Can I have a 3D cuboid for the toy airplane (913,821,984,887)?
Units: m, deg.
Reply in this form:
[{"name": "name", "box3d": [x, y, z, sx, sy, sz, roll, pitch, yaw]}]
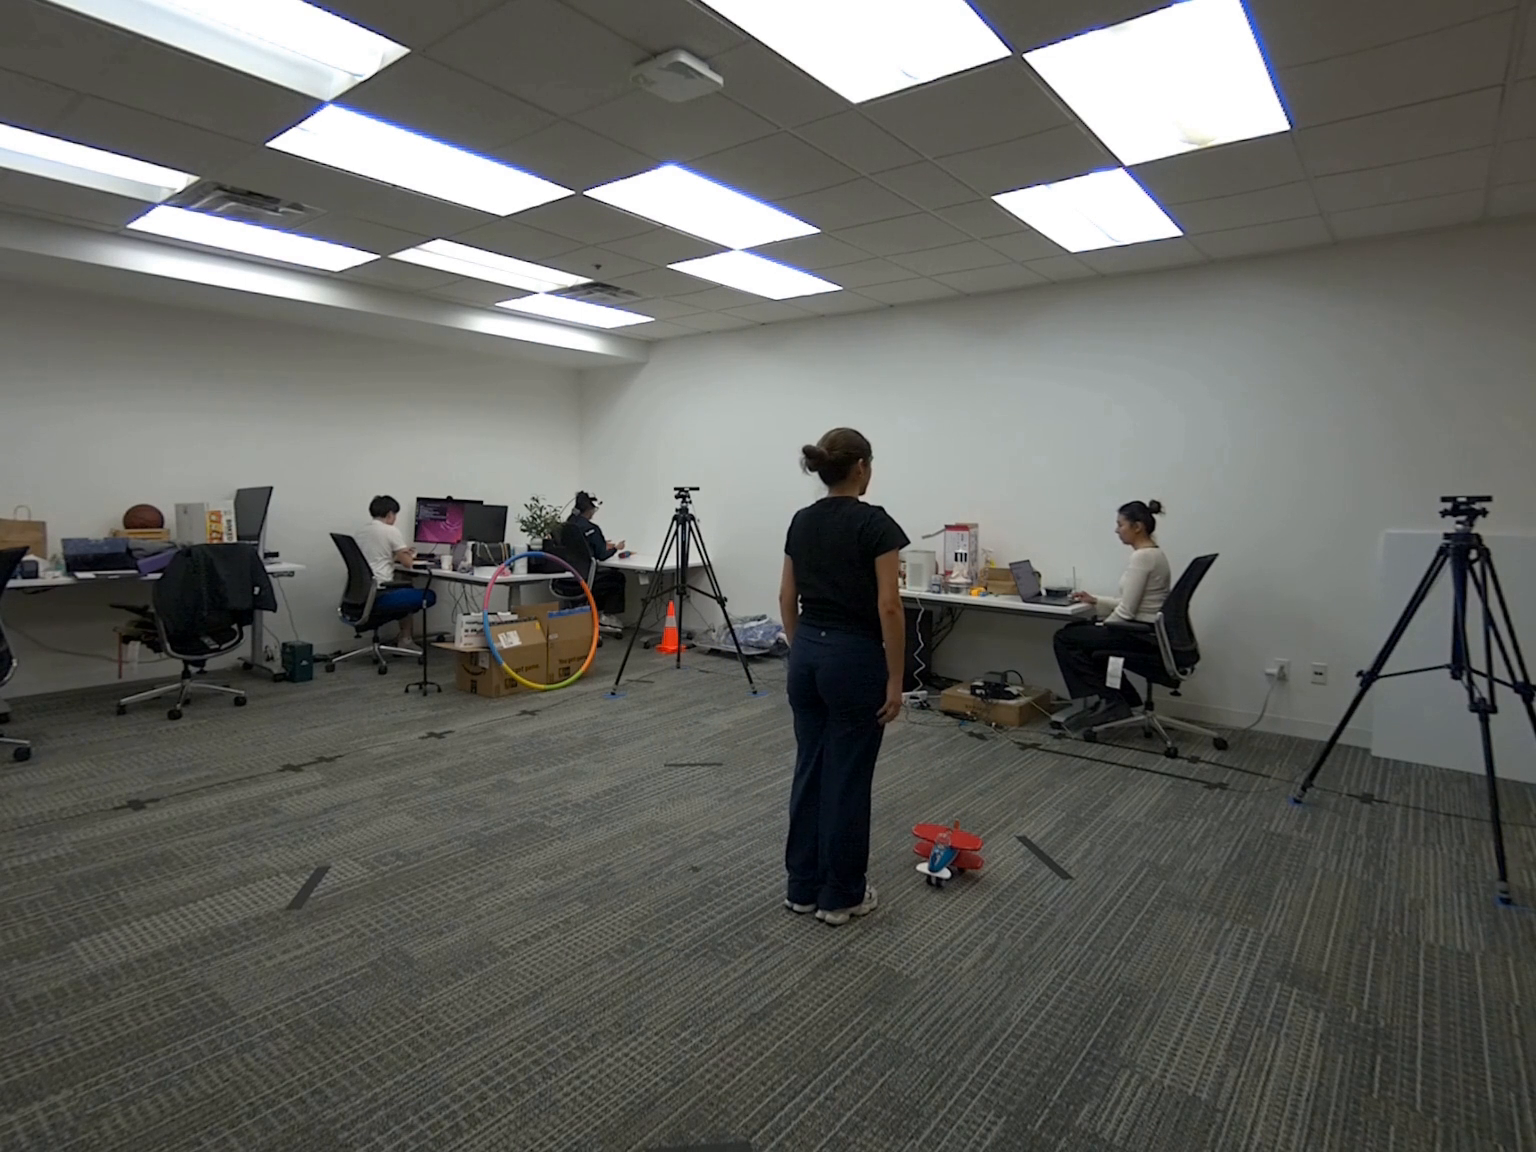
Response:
[{"name": "toy airplane", "box3d": [0.677, 1.014, 3.086, 0.253, 0.156, 0.258, 1, 4, 4]}]
